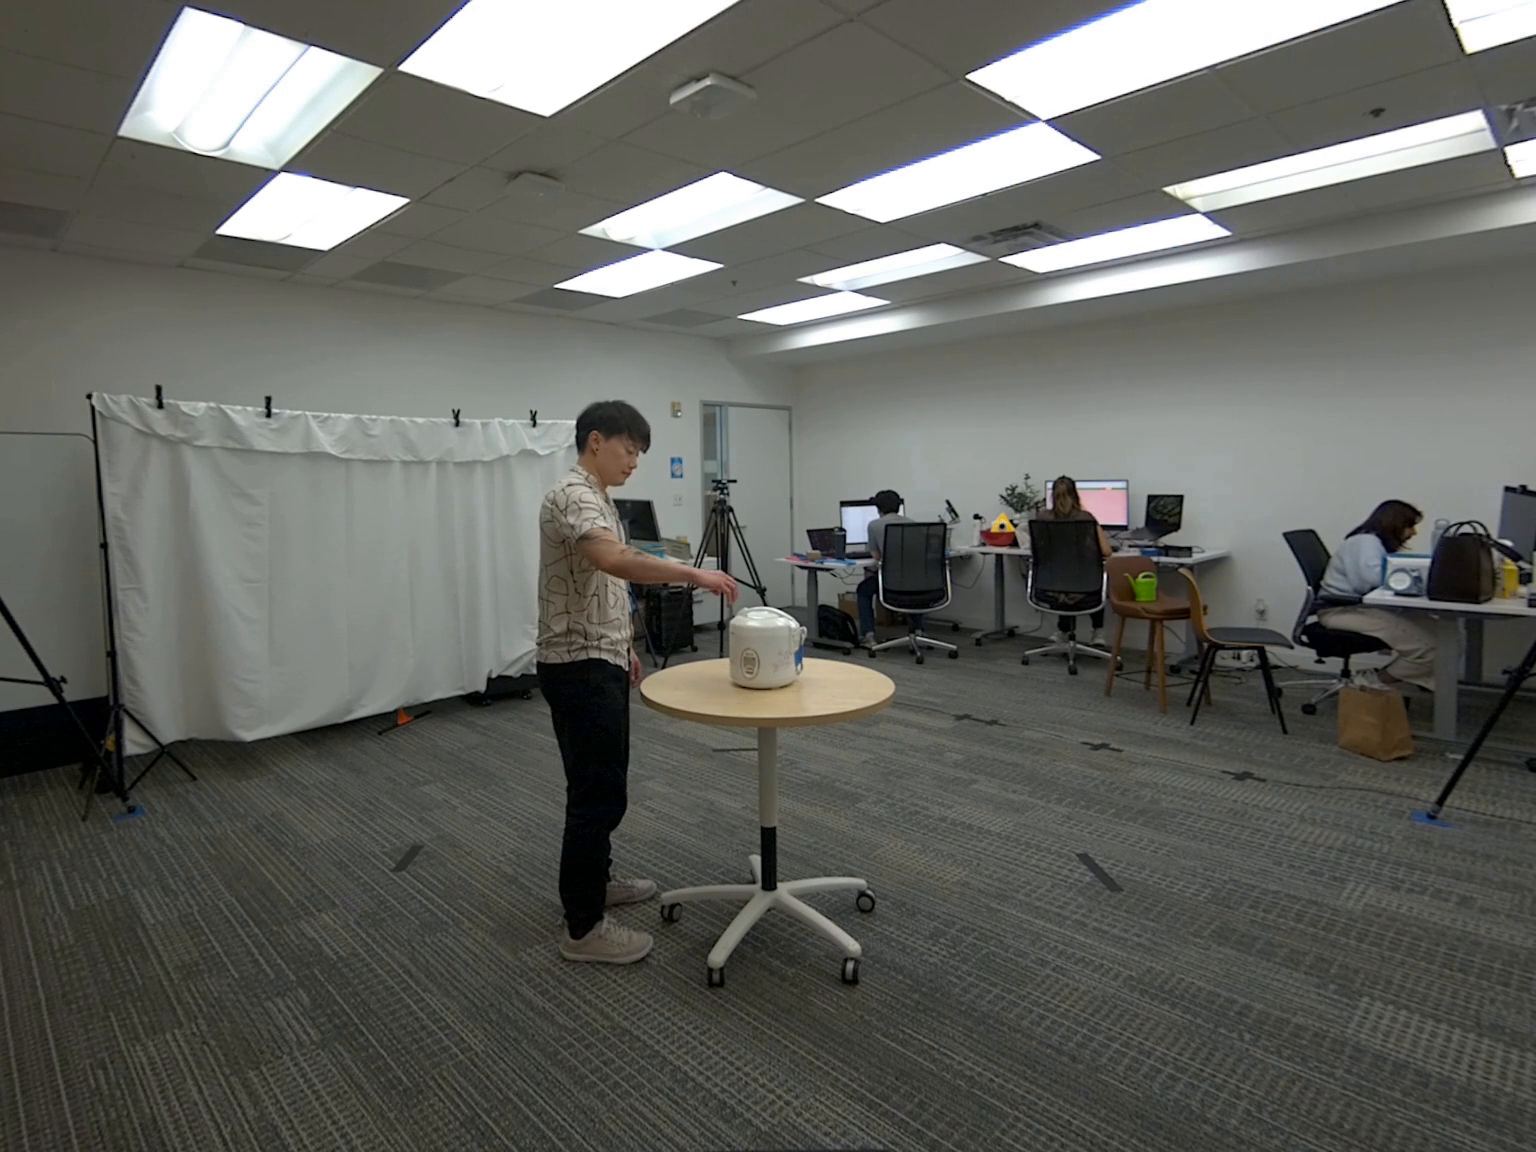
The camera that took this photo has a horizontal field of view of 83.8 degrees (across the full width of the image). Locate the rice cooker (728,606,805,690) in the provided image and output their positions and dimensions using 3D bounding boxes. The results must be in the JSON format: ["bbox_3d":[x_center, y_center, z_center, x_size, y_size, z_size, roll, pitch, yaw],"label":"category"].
[{"bbox_3d":[-0.010,0.208,2.582,0.225,0.232,0.213,1,4,24],"label":"rice cooker"}]
